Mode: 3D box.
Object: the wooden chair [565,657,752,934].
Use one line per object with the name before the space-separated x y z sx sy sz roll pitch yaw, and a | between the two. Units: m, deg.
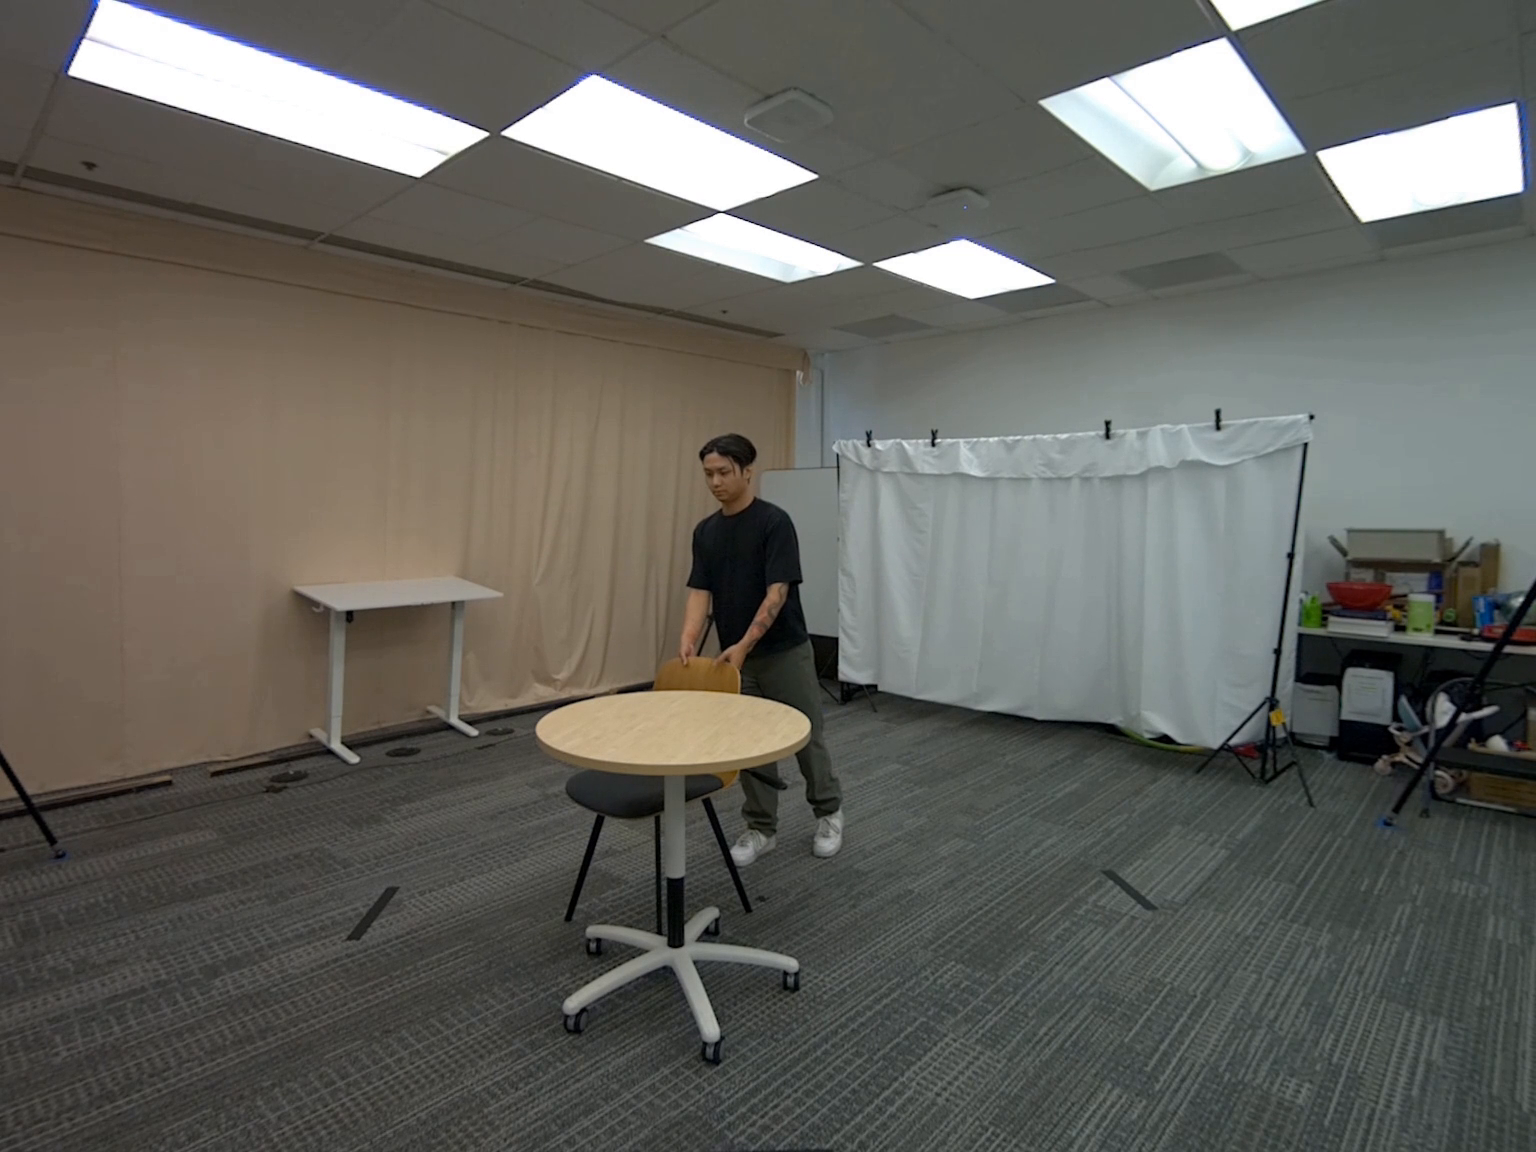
wooden chair | -0.372 0.729 2.824 0.494 0.878 0.506 2 -1 39
